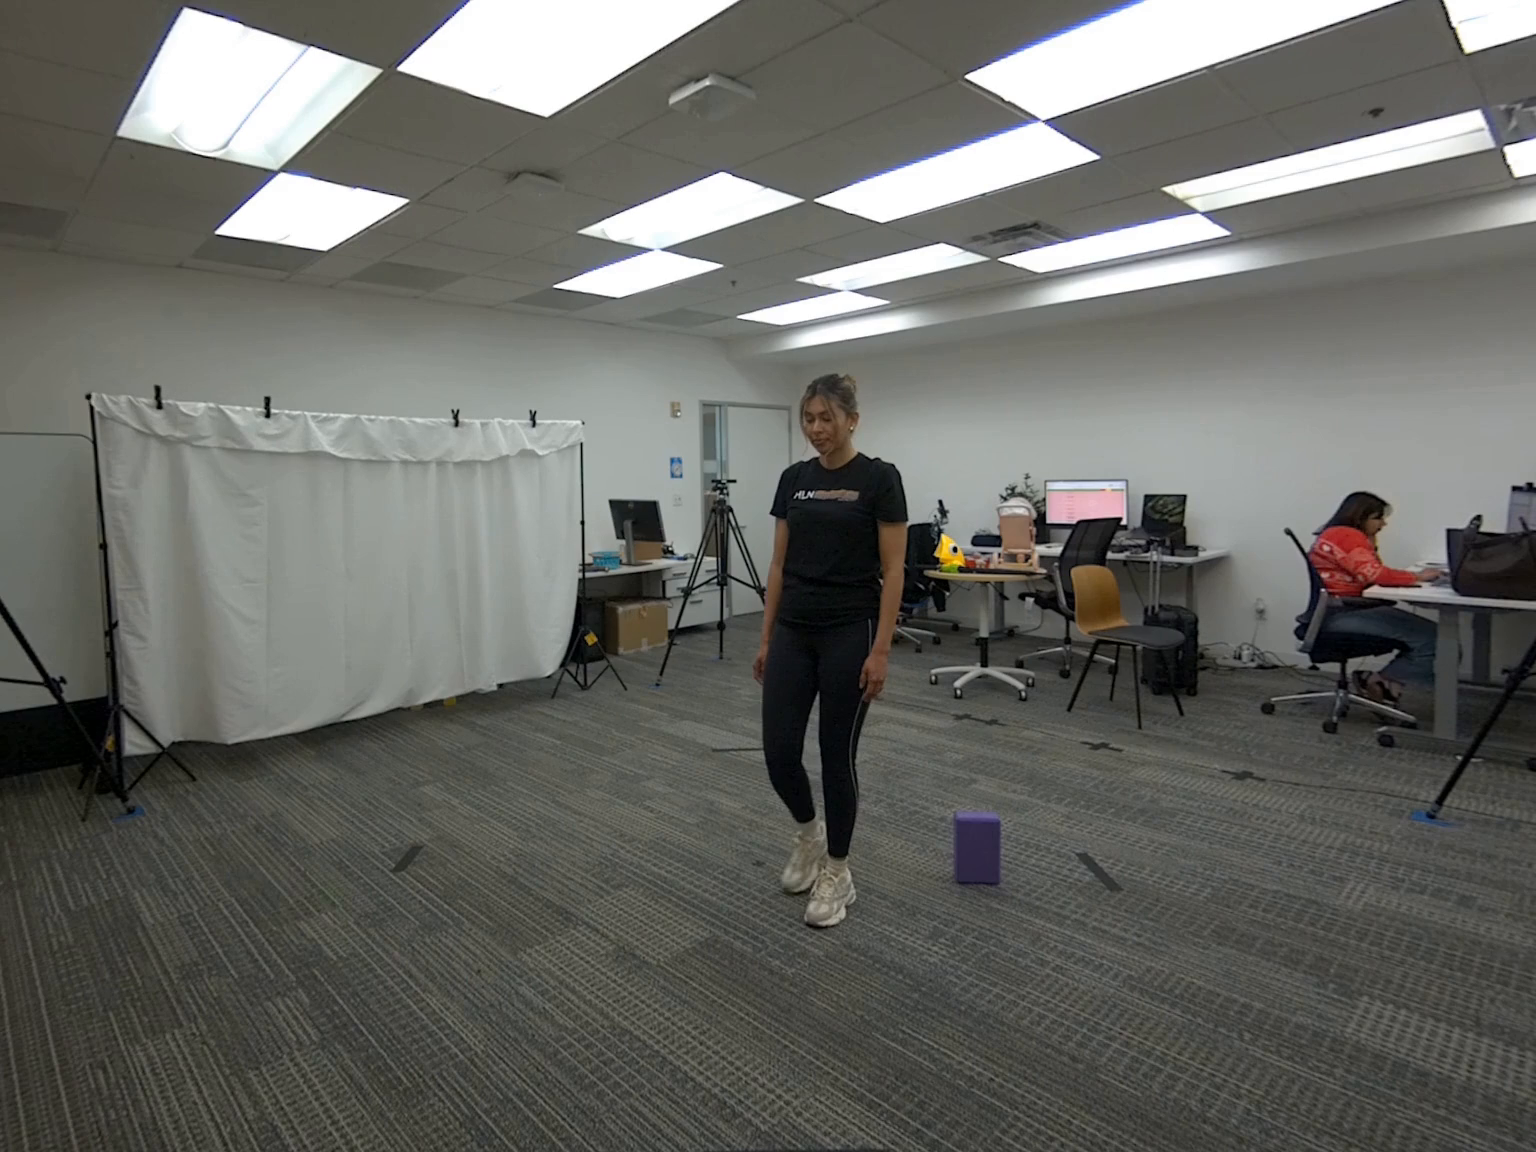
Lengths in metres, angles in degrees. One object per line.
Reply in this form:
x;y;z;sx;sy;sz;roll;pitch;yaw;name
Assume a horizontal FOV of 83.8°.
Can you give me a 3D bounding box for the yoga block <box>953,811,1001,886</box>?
0.728;0.935;2.943;0.150;0.229;0.076;0;3;7;yoga block
